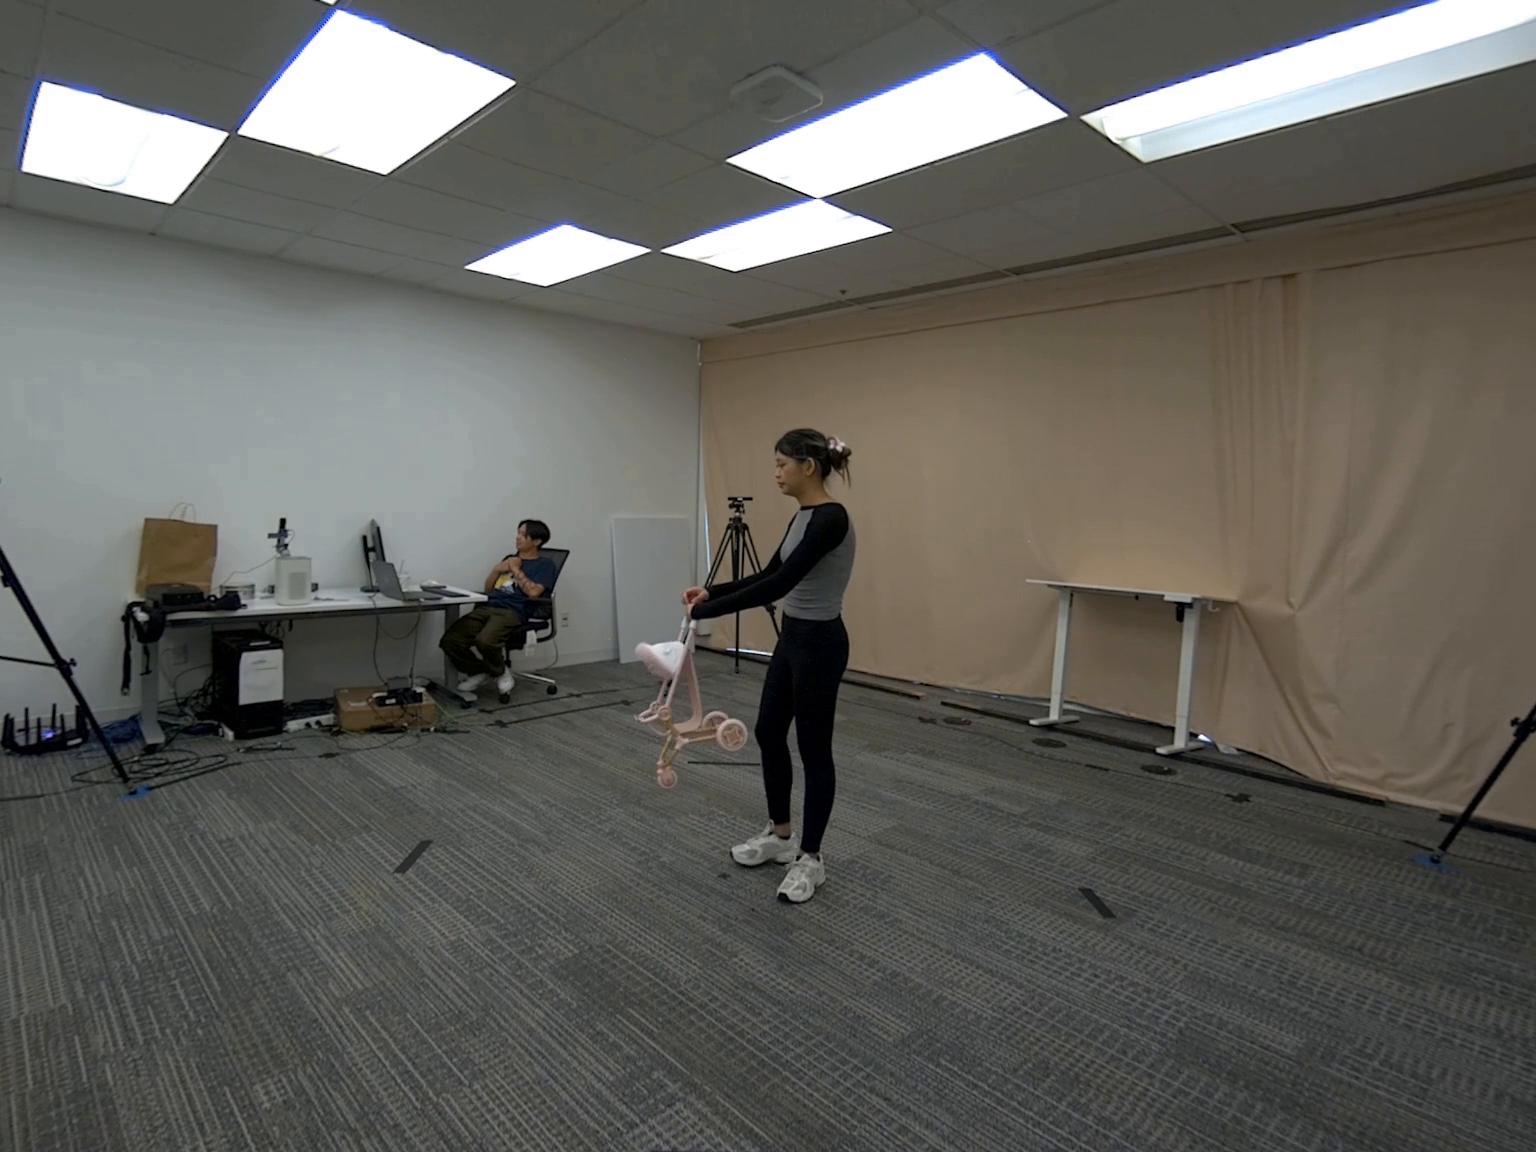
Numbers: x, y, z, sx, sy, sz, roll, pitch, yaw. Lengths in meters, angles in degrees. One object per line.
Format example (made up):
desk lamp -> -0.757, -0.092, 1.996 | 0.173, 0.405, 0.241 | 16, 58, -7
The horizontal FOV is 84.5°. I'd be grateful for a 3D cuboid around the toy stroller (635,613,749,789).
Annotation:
toy stroller -> -0.317, 0.434, 2.911 | 0.339, 0.534, 0.283 | -21, 1, -11
